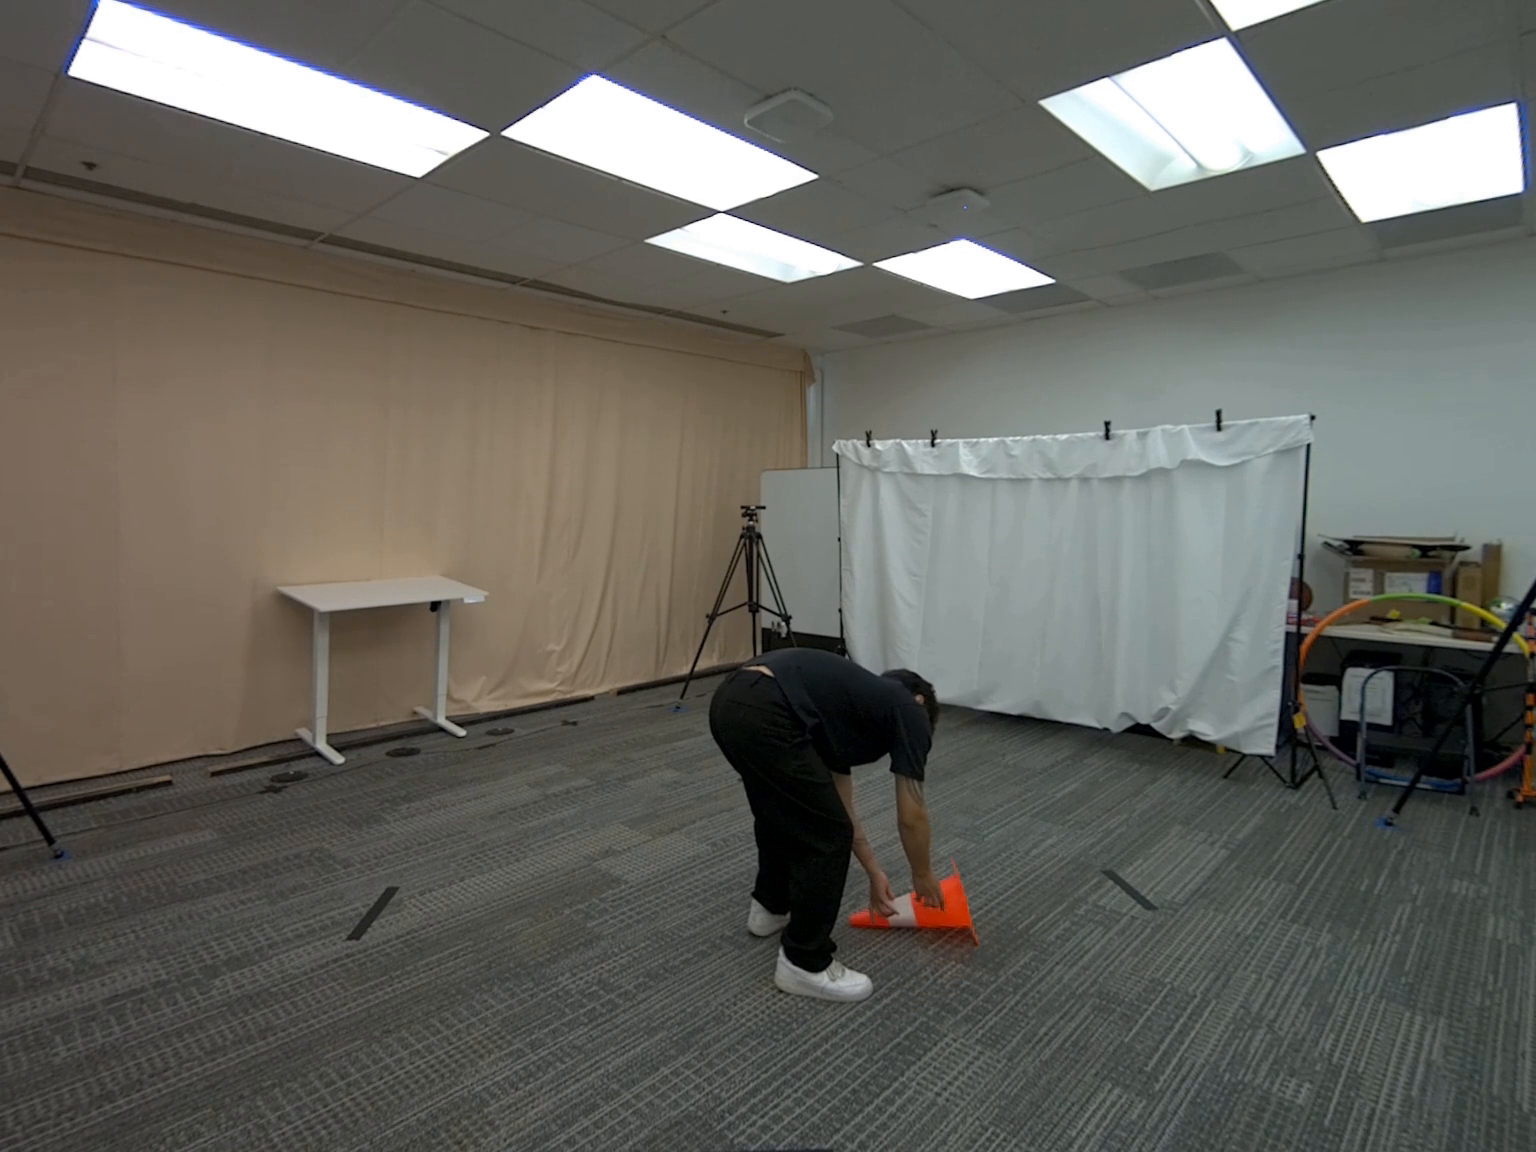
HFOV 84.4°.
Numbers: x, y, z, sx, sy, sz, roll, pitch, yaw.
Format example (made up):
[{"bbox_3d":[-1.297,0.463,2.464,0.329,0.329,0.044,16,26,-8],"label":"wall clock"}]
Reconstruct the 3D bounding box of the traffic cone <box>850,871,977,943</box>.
[{"bbox_3d":[0.463,1.111,2.751,0.386,0.200,0.207,-16,20,6],"label":"traffic cone"}]
